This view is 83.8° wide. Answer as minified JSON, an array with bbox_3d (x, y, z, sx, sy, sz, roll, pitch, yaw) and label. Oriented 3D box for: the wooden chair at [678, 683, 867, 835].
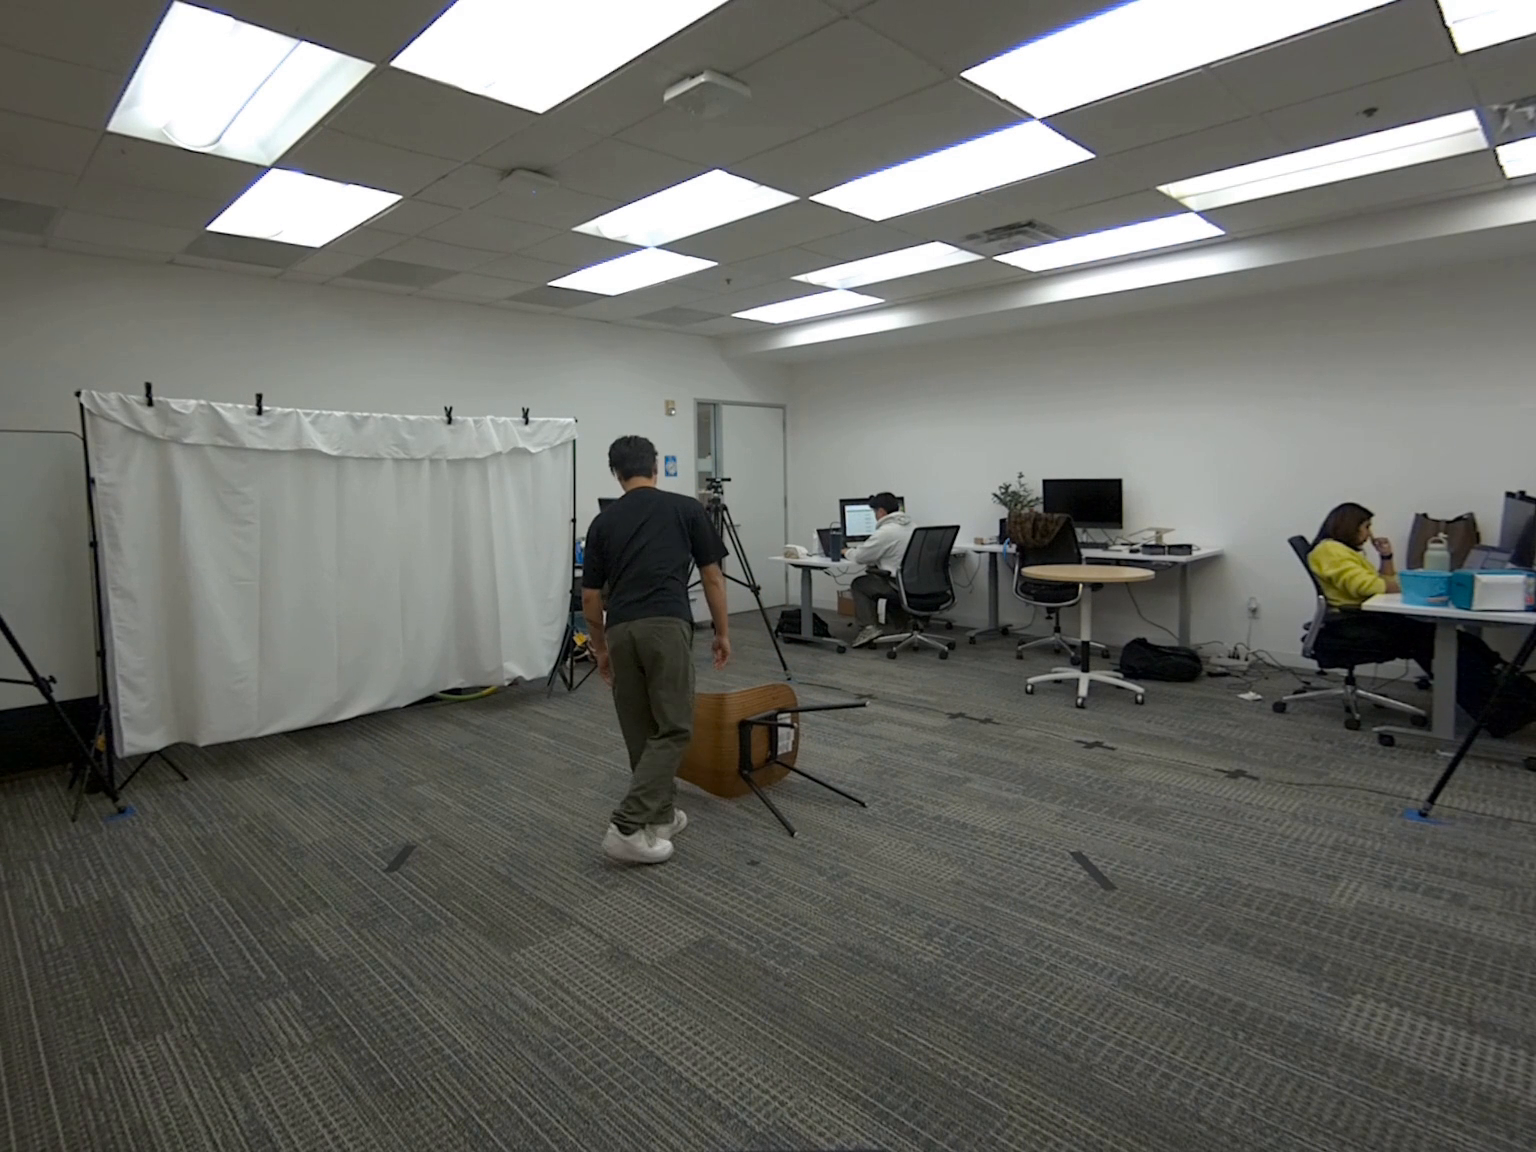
[{"bbox_3d":[-0.031,0.737,3.772,0.904,0.476,0.510,4,8,42],"label":"wooden chair"}]
